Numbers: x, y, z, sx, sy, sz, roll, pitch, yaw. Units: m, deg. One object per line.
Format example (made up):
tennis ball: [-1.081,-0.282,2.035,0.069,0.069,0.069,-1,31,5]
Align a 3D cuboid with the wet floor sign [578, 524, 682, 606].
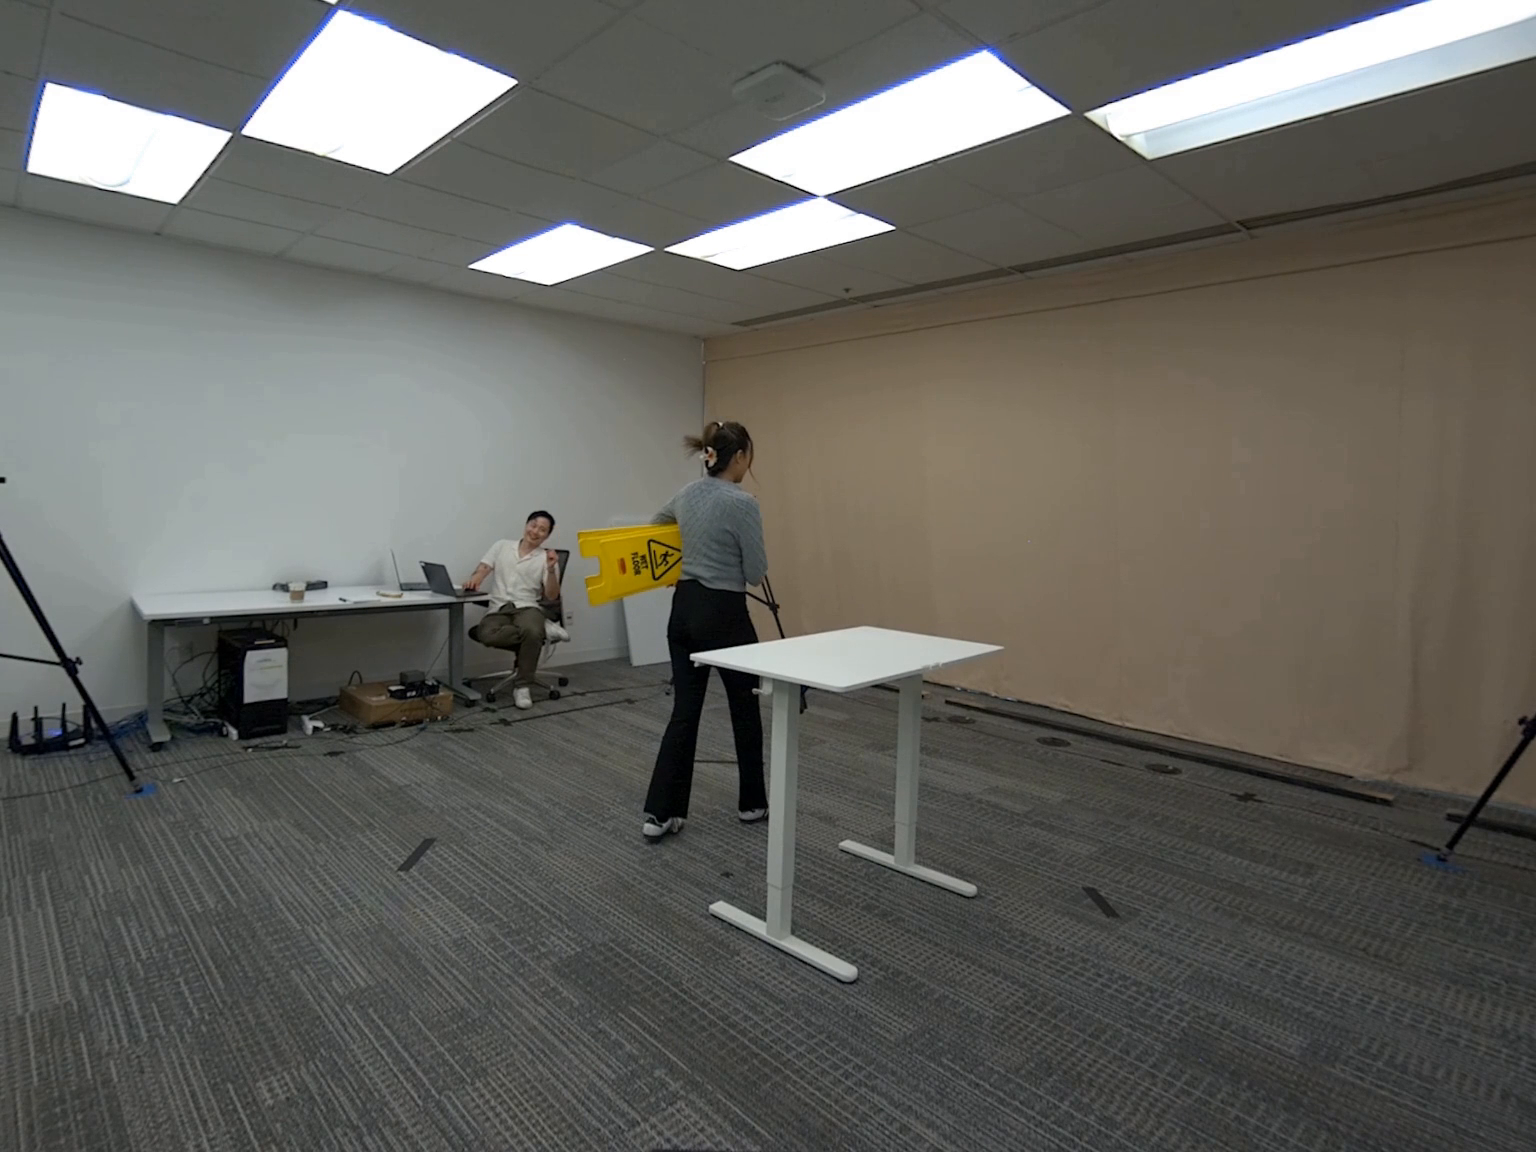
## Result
wet floor sign: [-0.468,-0.094,3.621,0.642,0.280,0.293,-10,9,-9]
